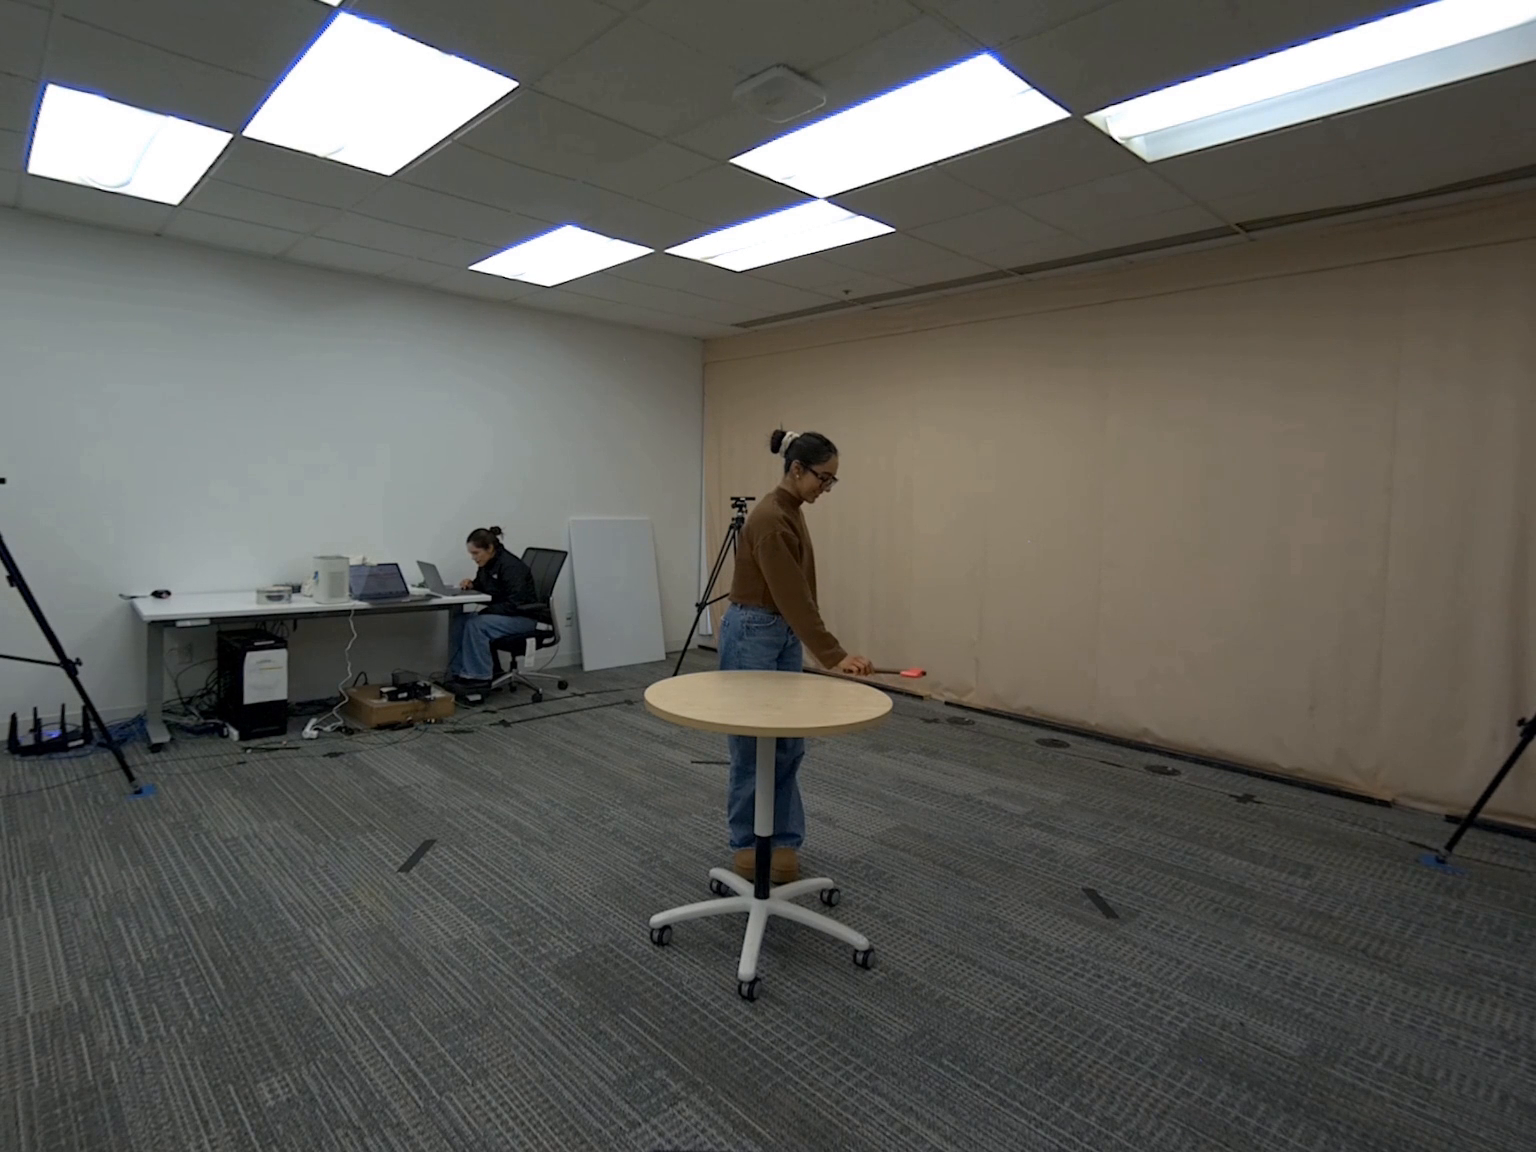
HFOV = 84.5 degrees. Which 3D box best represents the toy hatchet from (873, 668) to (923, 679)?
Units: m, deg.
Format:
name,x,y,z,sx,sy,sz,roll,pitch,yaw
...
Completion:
name,x,y,z,sx,sy,sz,roll,pitch,yaw
toy hatchet,0.348,0.320,2.870,0.275,0.029,0.129,4,3,22
